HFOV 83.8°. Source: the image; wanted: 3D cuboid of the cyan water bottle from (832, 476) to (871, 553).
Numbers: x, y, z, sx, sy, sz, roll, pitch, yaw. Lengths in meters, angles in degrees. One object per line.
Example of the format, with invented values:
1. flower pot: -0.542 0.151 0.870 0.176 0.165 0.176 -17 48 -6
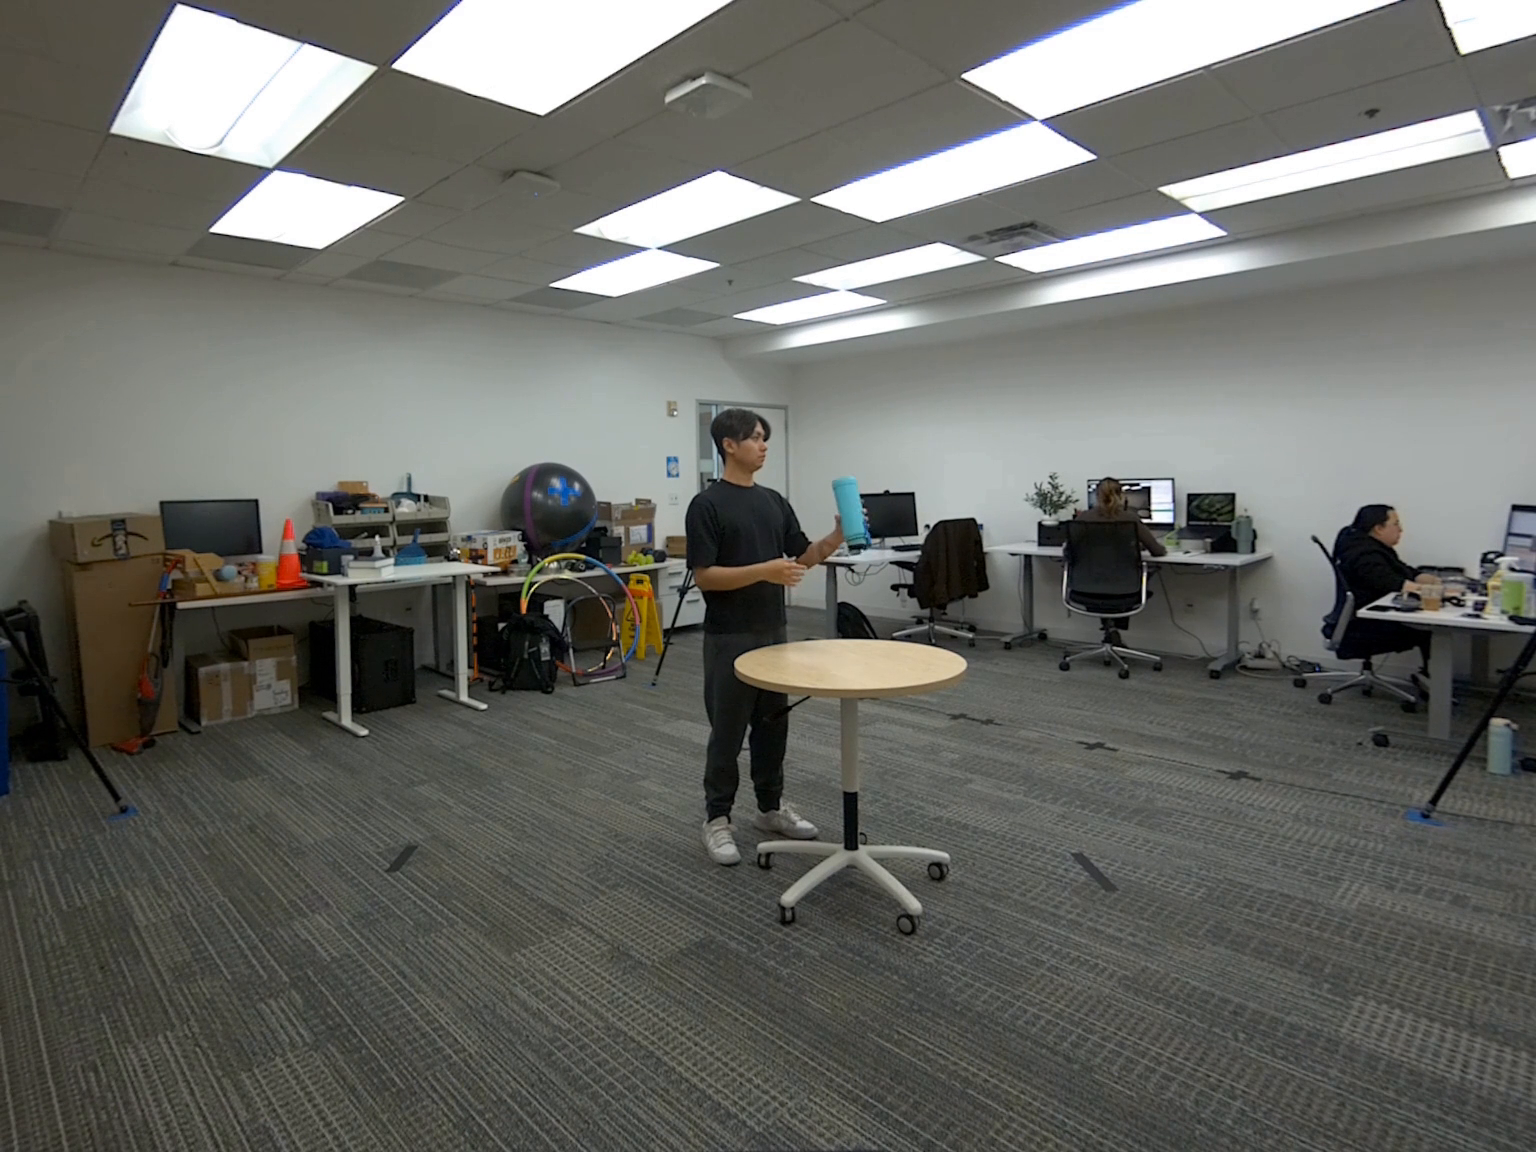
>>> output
1. cyan water bottle: 0.298 -0.210 3.119 0.092 0.287 0.091 -10 -12 -4
